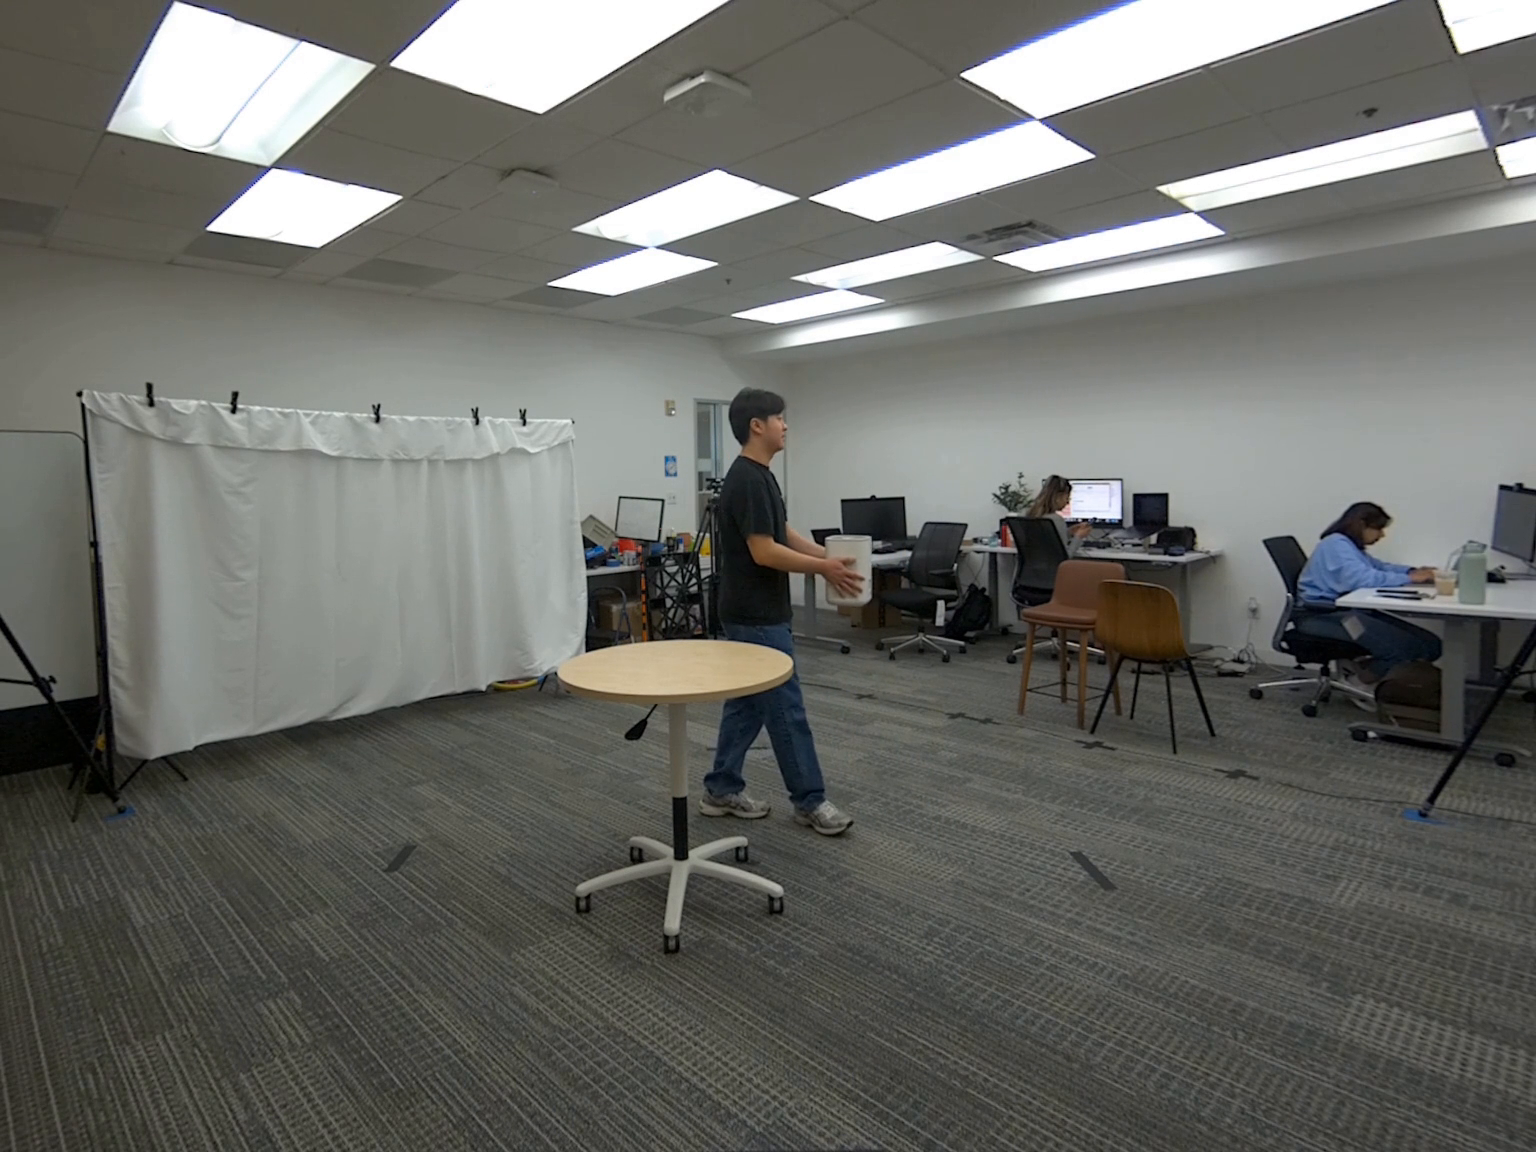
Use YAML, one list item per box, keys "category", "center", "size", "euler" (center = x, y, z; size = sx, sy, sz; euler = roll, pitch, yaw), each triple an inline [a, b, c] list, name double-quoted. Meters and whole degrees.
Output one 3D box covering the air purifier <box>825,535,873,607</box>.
- category: "air purifier"
  center: [0.320, -0.024, 3.398]
  size: [0.174, 0.264, 0.169]
  euler: [0, 6, 16]
